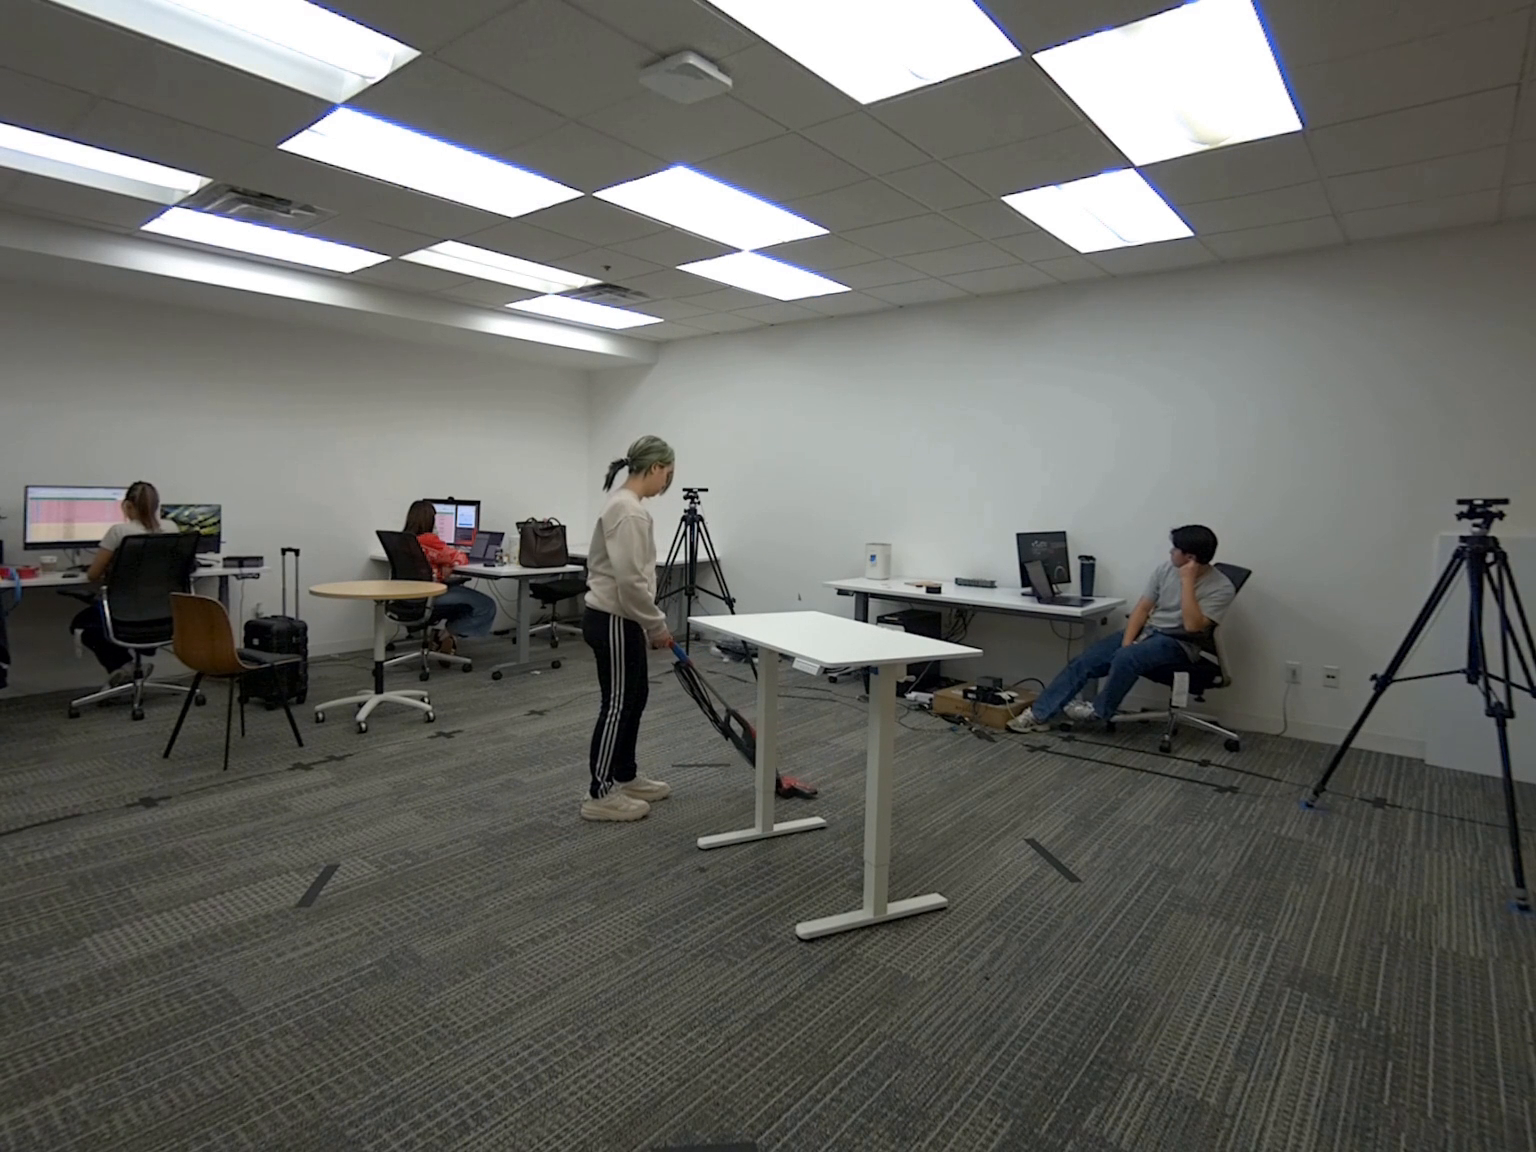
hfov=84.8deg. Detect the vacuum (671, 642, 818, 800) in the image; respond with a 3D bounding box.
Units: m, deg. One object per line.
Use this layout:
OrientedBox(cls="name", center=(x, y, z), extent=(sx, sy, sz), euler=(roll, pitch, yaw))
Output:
OrientedBox(cls="vacuum", center=(-0.194, 0.633, 3.727), extent=(1.017, 0.144, 0.260), euler=(49, -27, -24))
